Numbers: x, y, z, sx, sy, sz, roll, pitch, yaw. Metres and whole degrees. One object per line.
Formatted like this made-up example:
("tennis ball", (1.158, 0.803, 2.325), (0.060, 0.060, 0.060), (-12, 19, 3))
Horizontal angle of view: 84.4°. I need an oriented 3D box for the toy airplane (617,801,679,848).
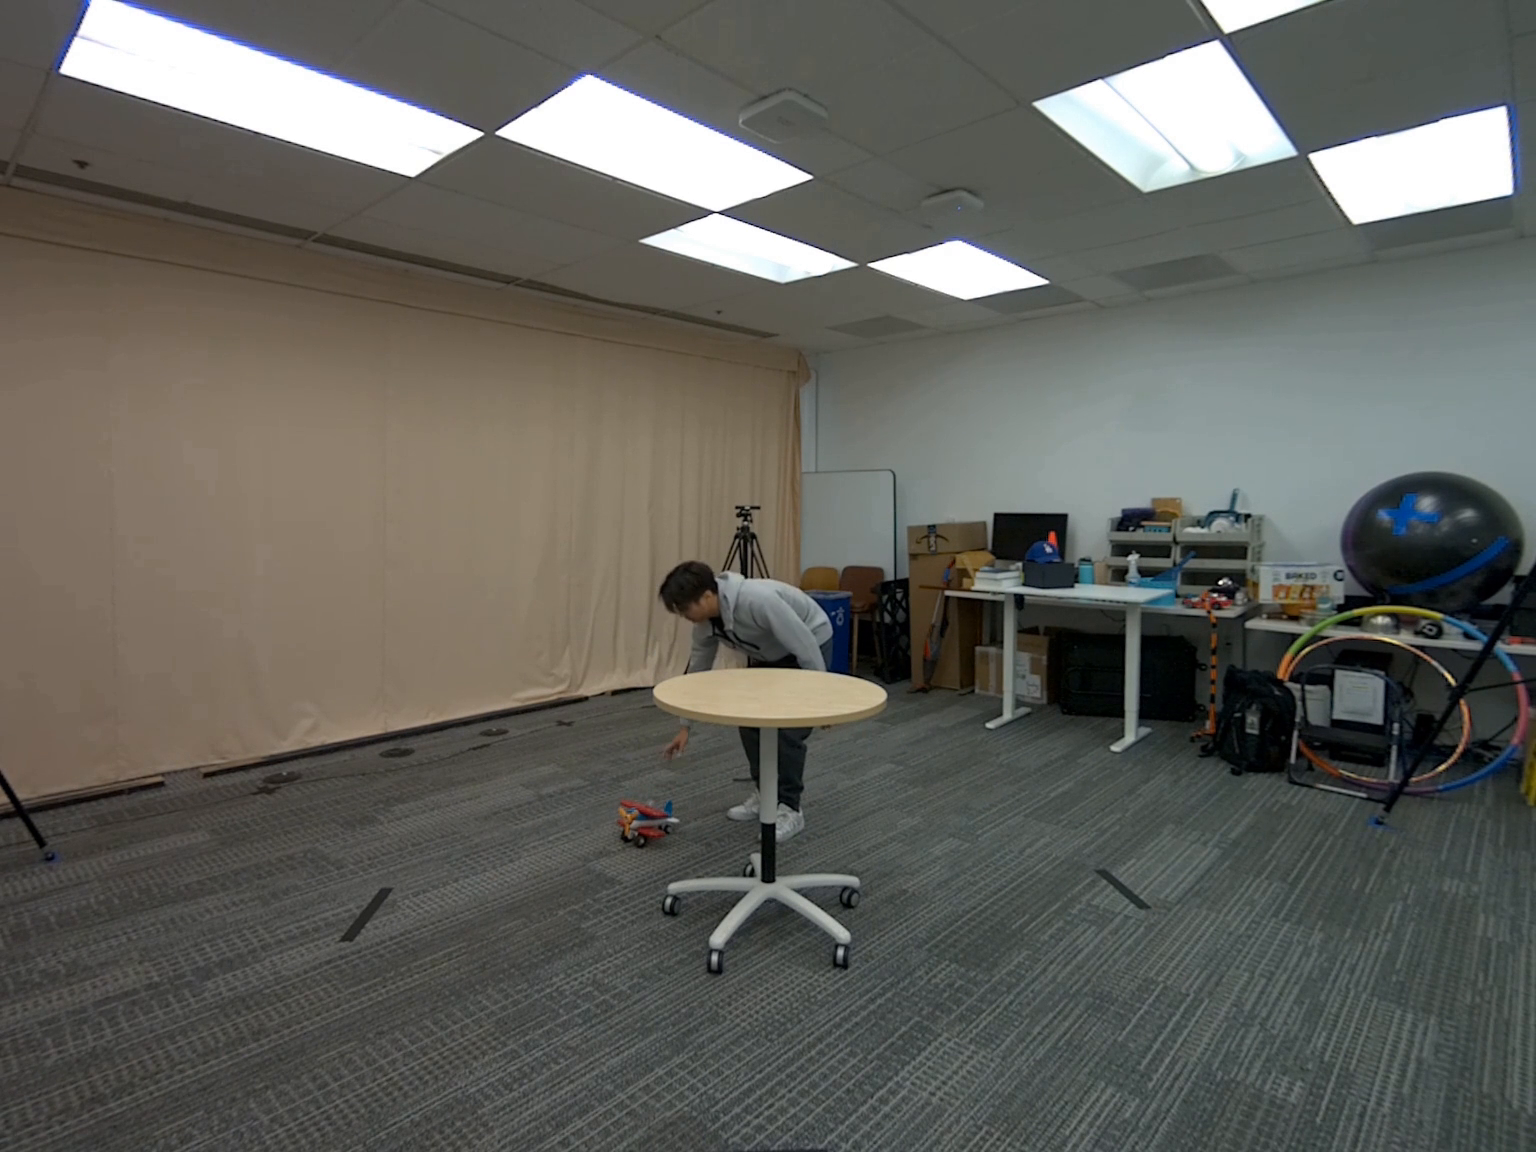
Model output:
("toy airplane", (-0.520, 1.027, 3.542), (0.255, 0.156, 0.256), (-1, 5, 14))
